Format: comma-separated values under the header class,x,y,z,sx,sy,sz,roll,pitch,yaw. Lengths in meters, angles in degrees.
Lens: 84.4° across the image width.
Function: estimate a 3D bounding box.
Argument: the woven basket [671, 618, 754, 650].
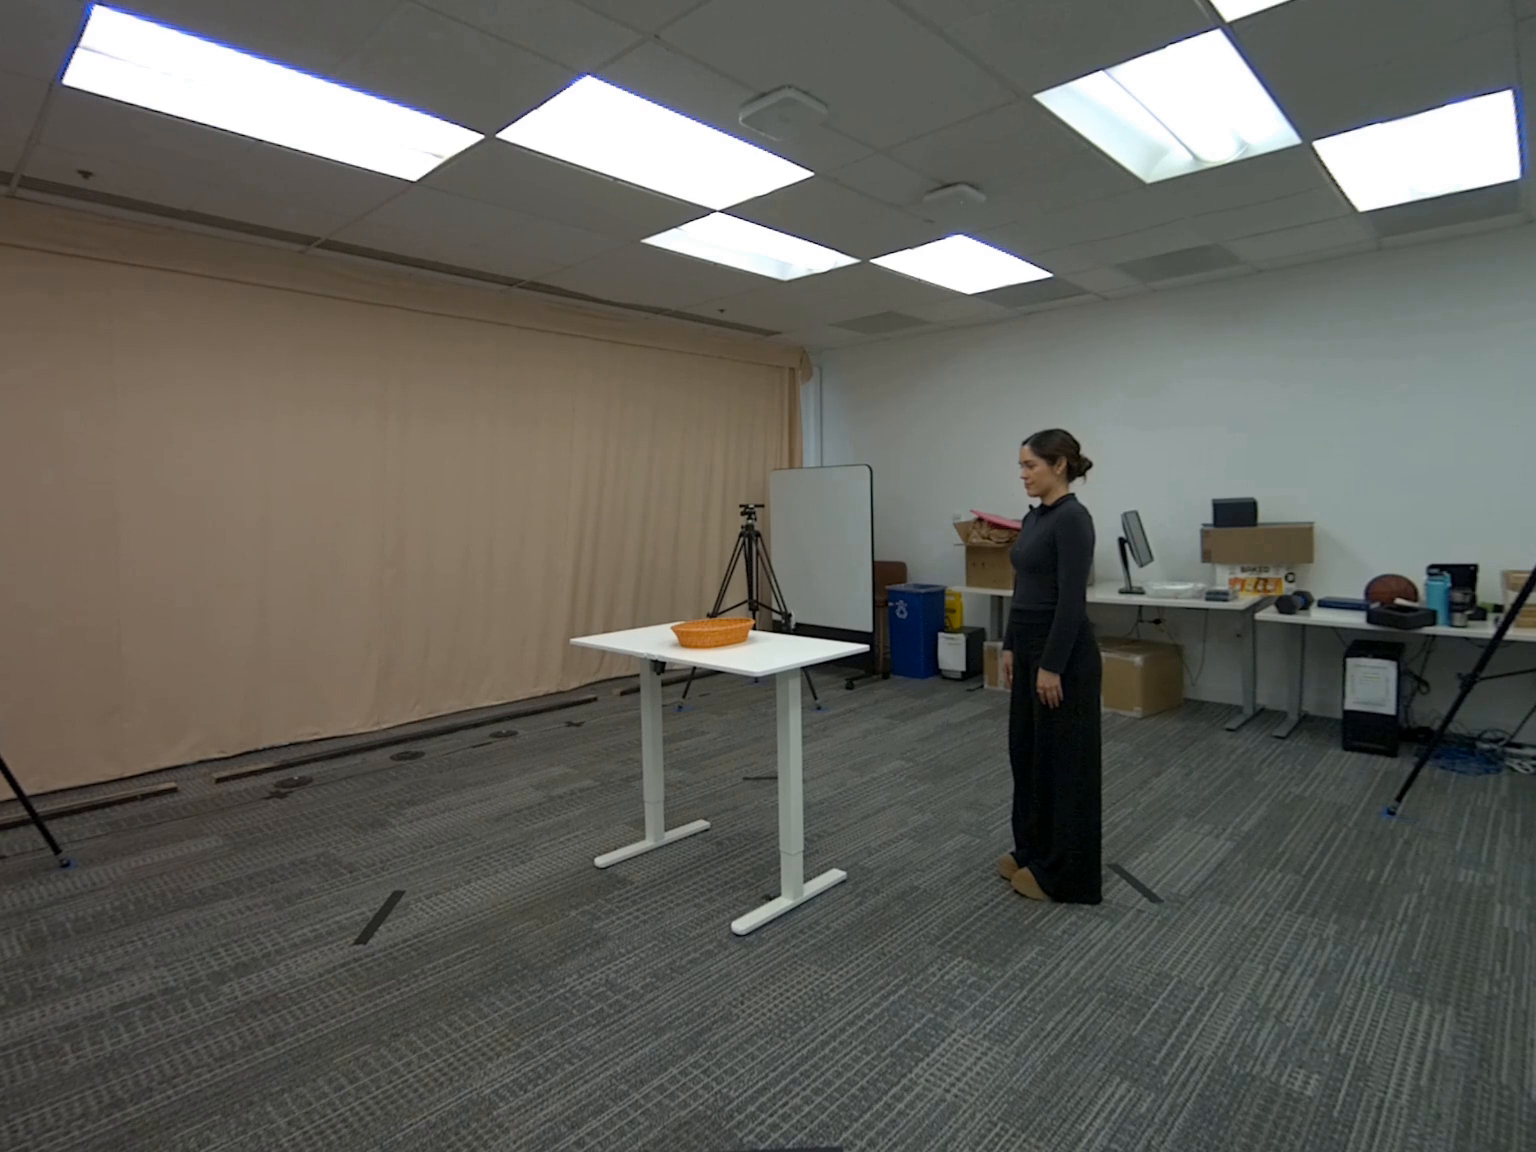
class,x,y,z,sx,sy,sz,roll,pitch,yaw
woven basket,-0.201,0.219,3.152,0.340,0.073,0.261,-7,7,-43
